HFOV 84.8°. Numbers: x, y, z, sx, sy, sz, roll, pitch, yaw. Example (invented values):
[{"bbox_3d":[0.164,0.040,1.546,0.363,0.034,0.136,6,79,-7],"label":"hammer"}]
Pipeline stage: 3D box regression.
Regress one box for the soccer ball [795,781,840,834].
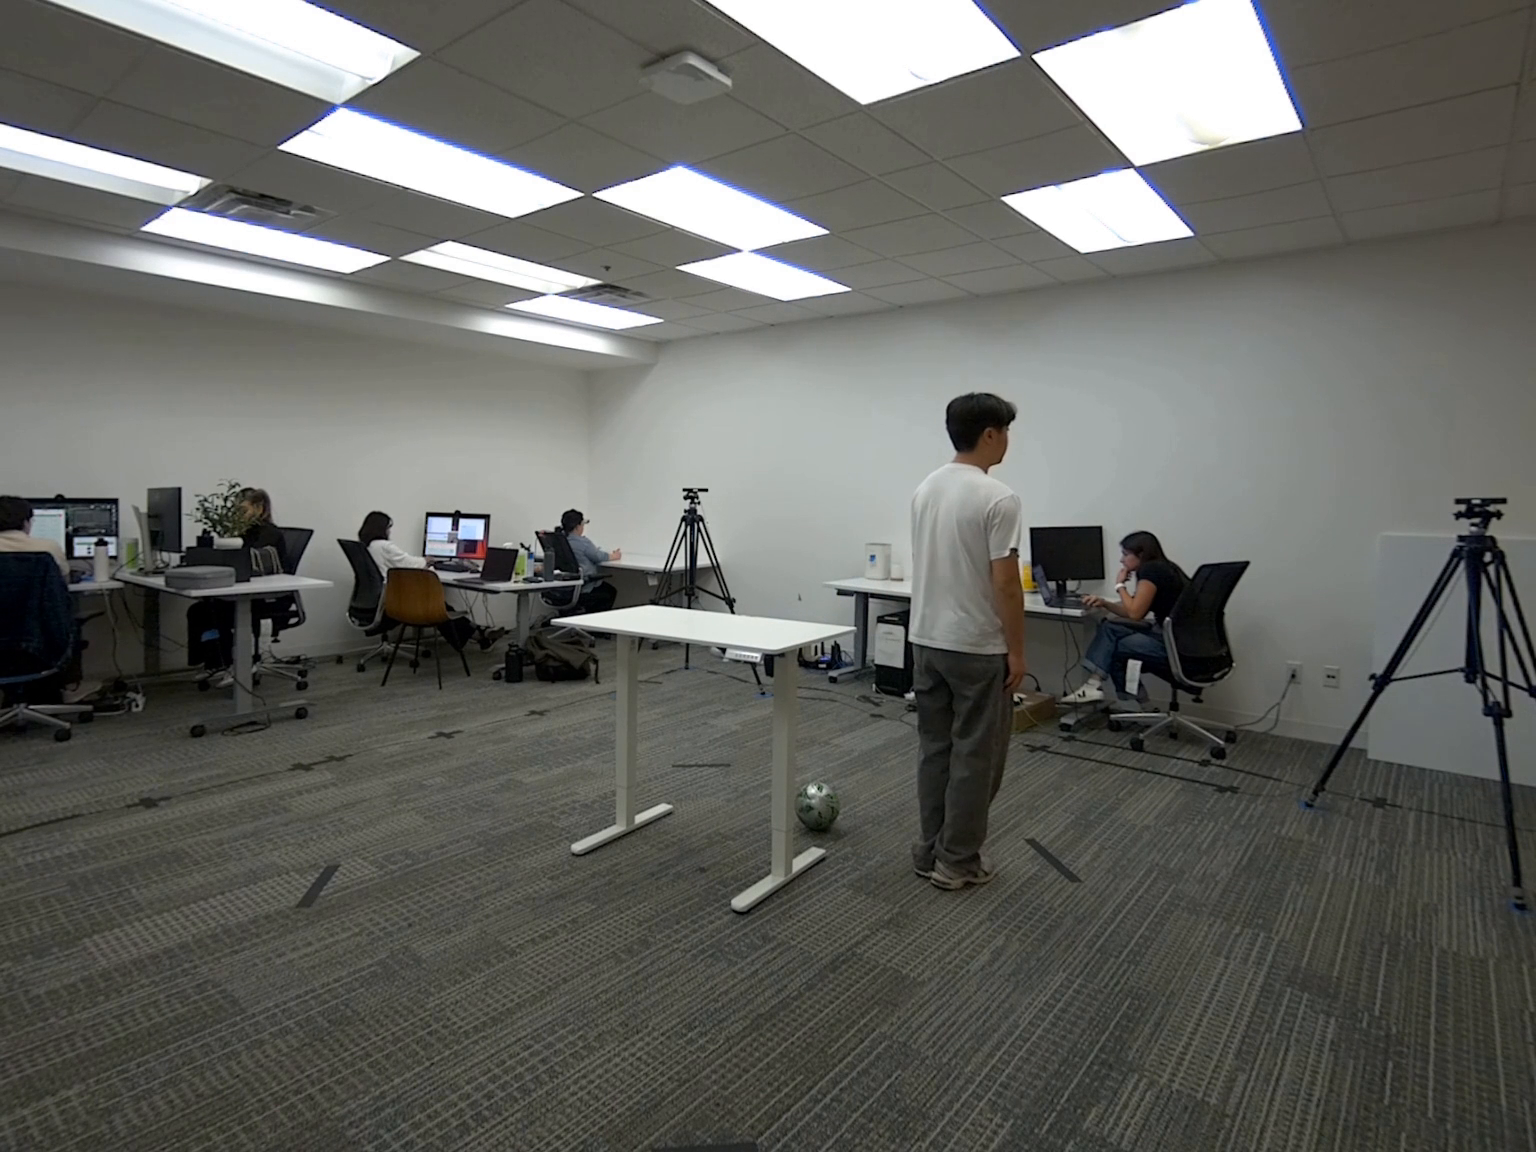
[{"bbox_3d":[0.208,0.940,3.512,0.187,0.187,0.188,1,4,-2],"label":"soccer ball"}]
